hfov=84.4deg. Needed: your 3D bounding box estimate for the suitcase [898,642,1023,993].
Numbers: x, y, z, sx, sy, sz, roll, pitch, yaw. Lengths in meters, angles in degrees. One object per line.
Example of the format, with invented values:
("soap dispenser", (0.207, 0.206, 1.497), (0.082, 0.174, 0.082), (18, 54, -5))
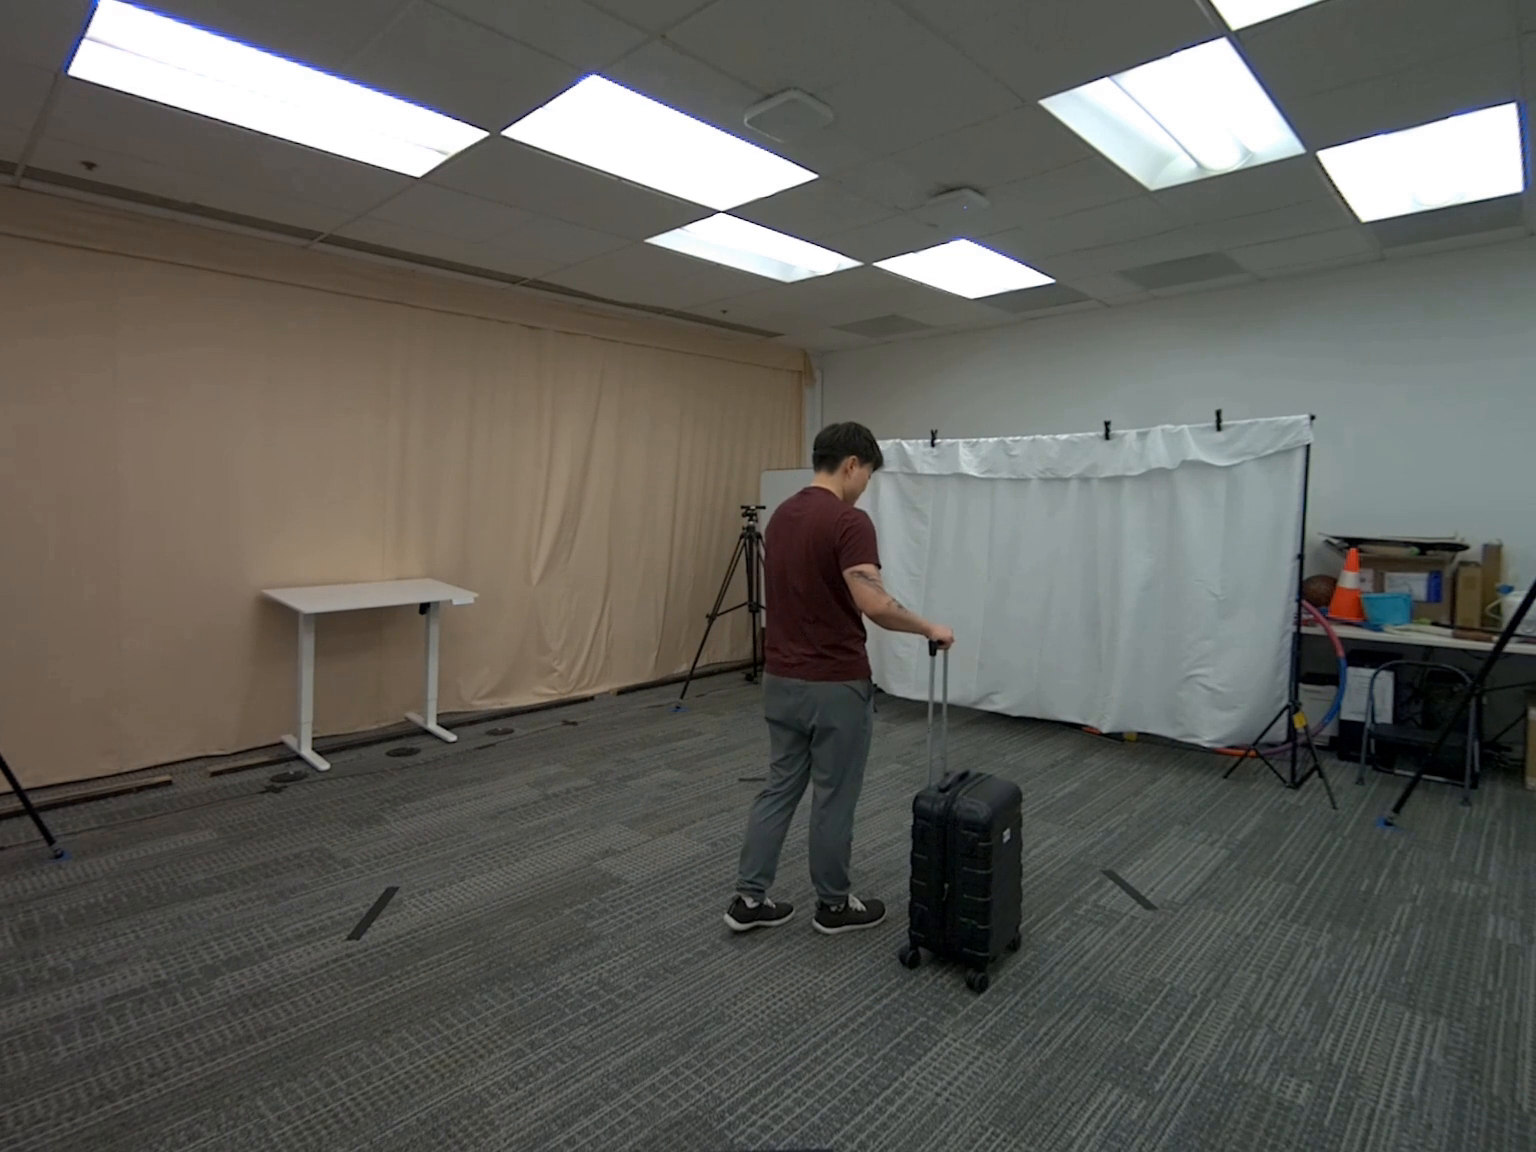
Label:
("suitcase", (0.637, 0.704, 2.574), (0.265, 0.976, 0.372), (6, 4, 34))
